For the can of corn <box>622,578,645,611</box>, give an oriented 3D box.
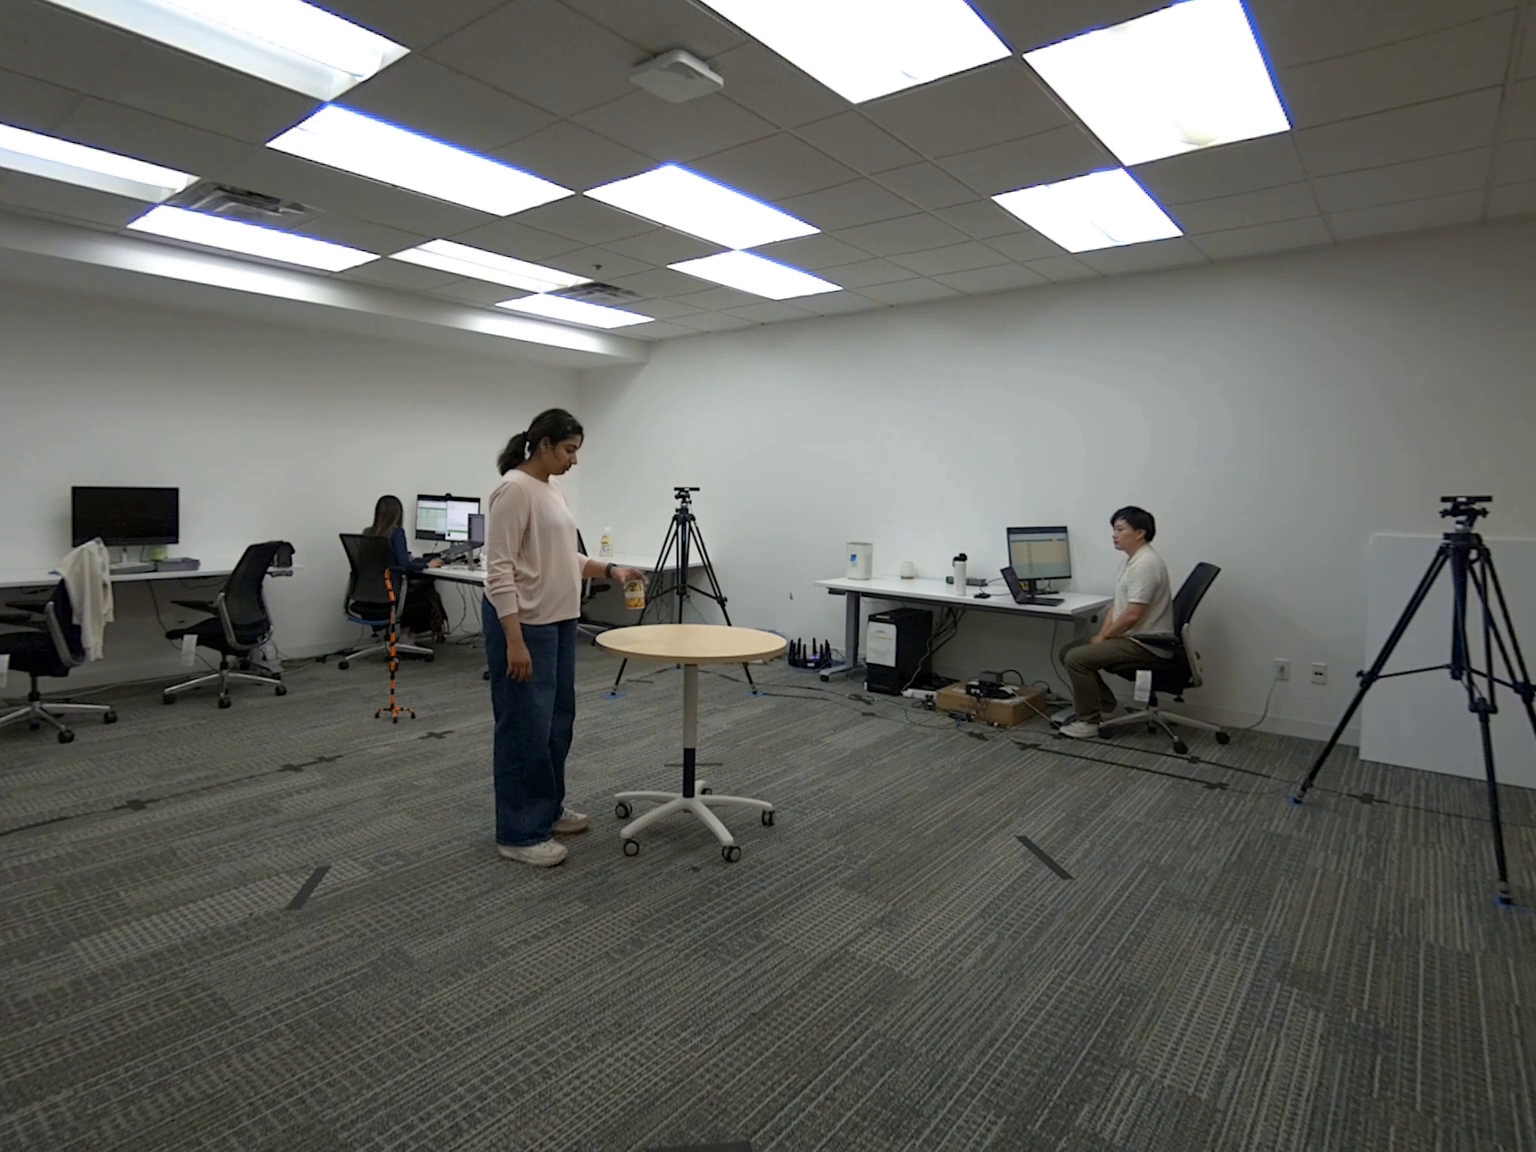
[{"bbox_3d":[-0.545,0.072,3.368,0.074,0.111,0.074,-6,0,-2],"label":"can of corn"}]
